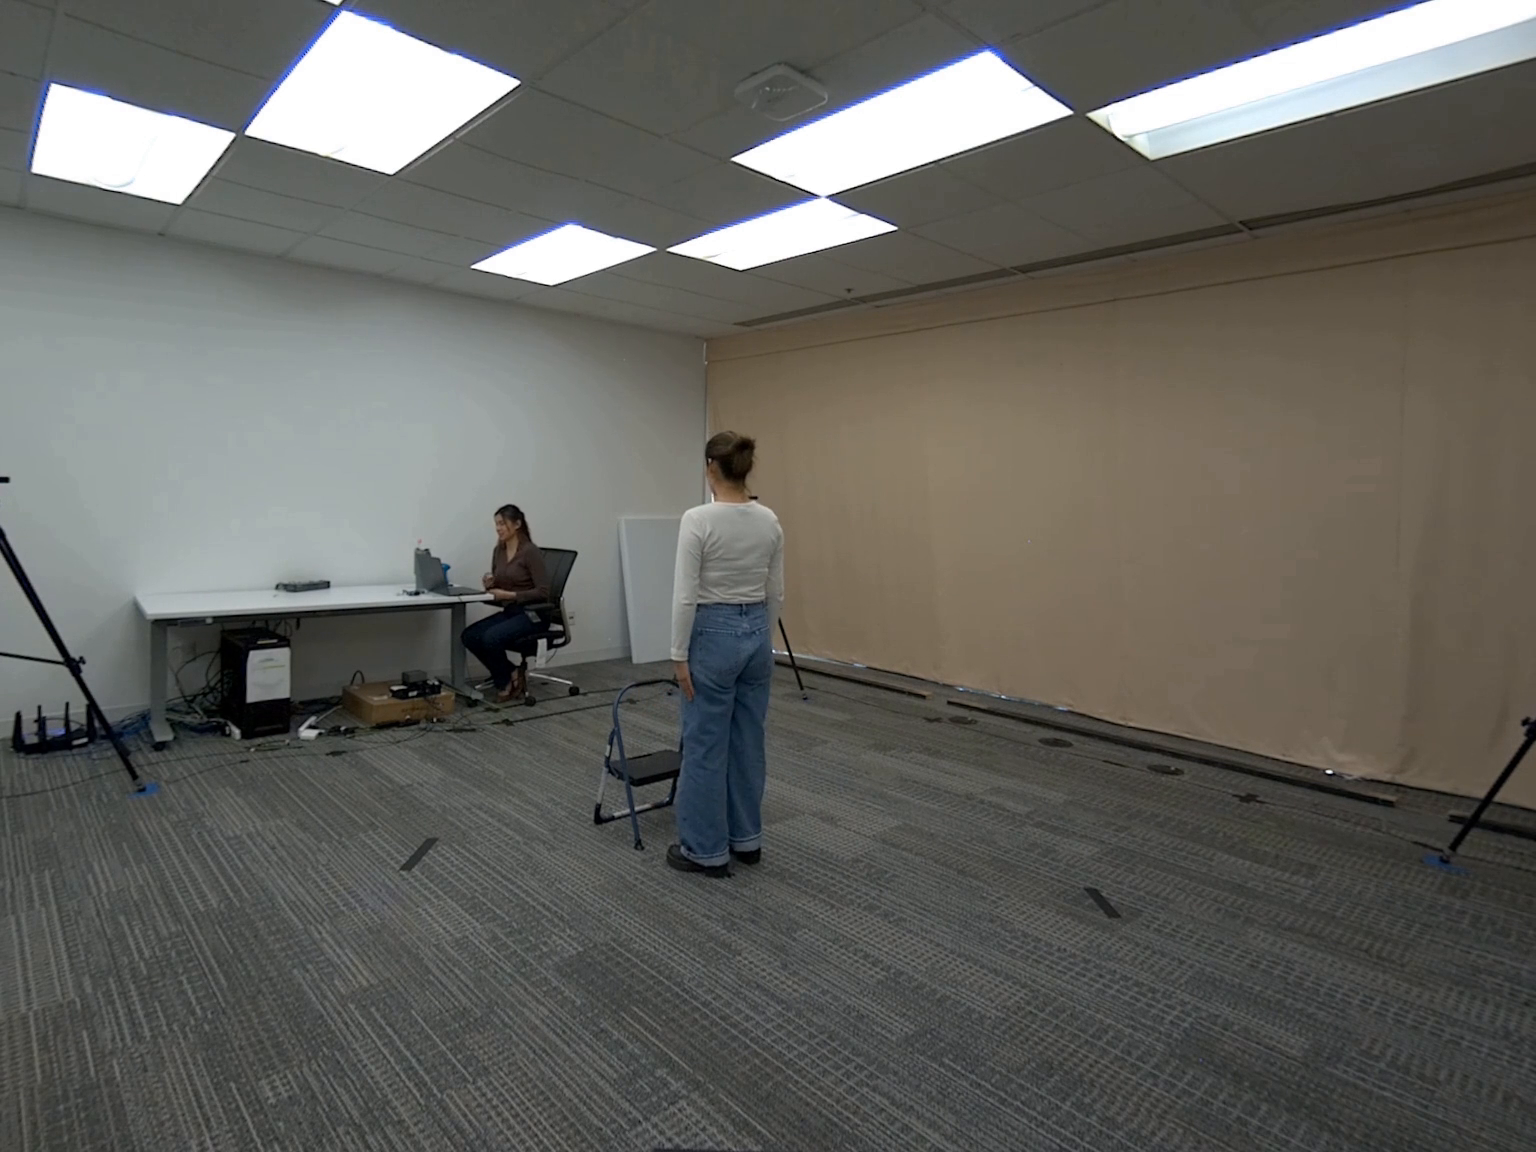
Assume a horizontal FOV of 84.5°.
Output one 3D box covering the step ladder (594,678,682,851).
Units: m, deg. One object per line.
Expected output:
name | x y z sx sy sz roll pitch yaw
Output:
step ladder | -0.470 0.754 3.551 0.421 0.605 0.358 -2 5 -43
